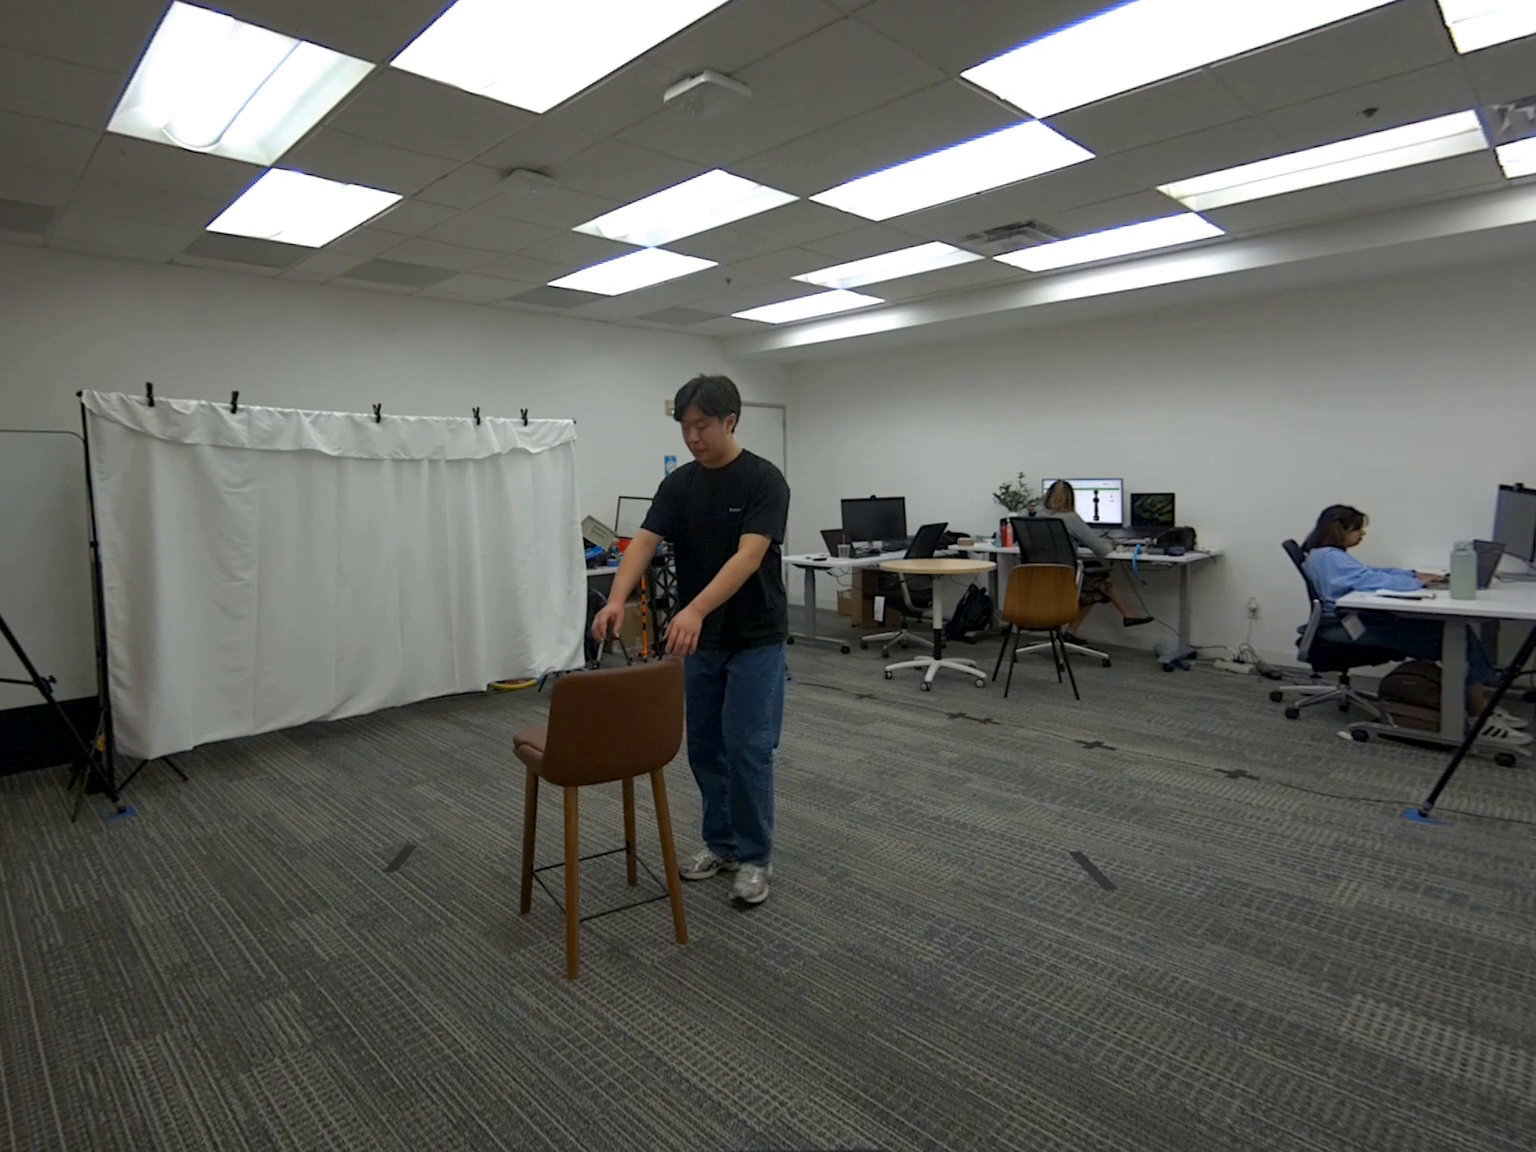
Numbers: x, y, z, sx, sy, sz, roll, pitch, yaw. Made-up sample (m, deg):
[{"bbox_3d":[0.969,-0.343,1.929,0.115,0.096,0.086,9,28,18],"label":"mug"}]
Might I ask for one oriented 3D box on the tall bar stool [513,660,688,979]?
[{"bbox_3d":[-0.520,0.669,2.651,0.446,0.885,0.481,-3,7,-30],"label":"tall bar stool"}]
